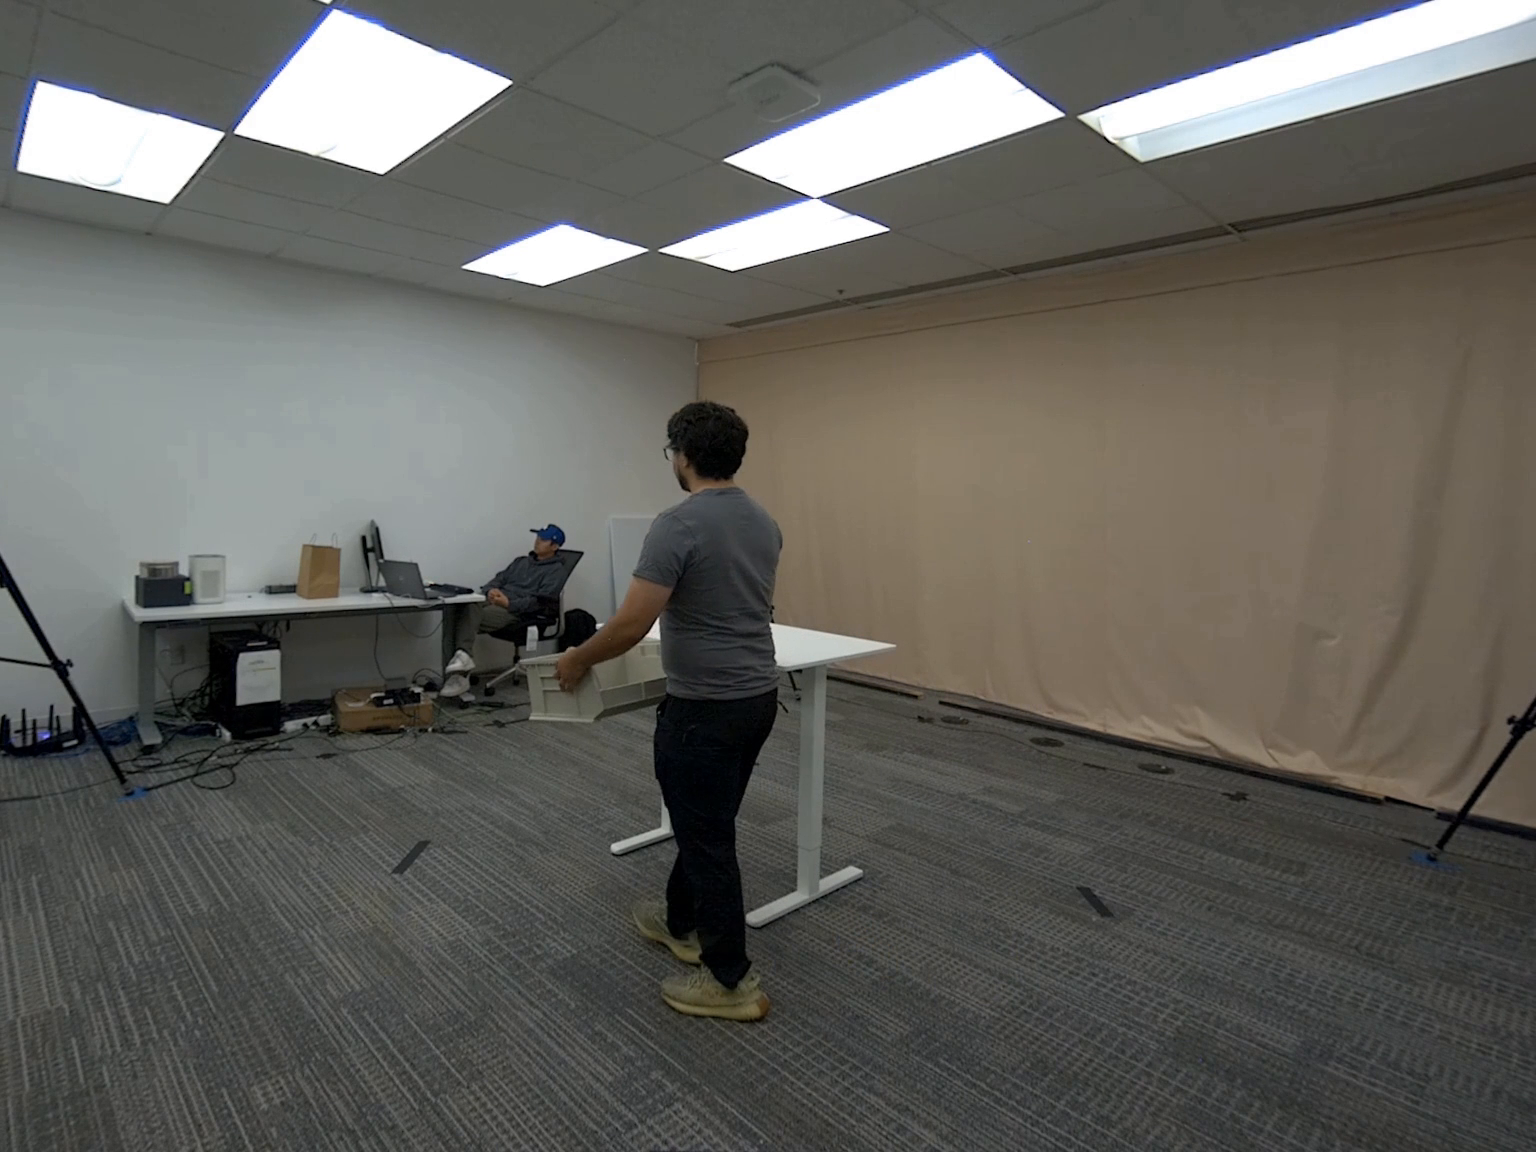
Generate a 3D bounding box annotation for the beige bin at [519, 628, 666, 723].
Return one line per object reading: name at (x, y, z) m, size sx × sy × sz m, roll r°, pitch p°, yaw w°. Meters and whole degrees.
beige bin at (-0.465, 0.313, 2.543) m, size 0.385 × 0.189 × 0.413 m, roll -9°, pitch -2°, yaw 42°
